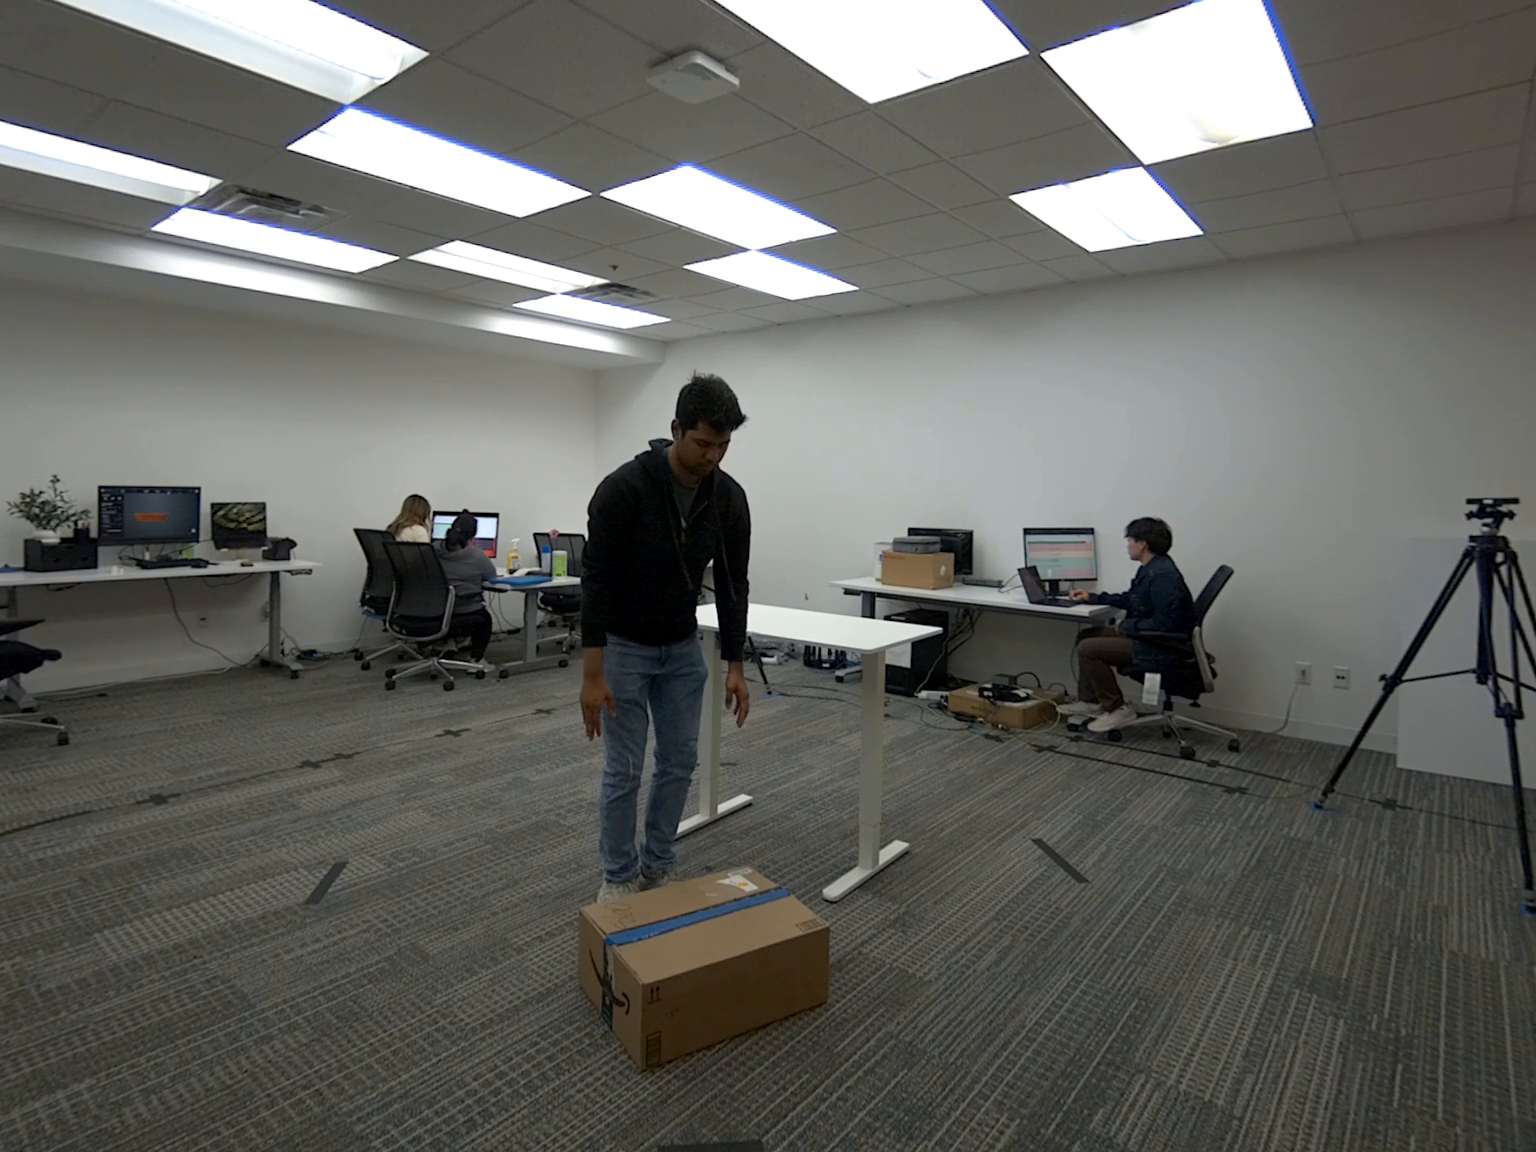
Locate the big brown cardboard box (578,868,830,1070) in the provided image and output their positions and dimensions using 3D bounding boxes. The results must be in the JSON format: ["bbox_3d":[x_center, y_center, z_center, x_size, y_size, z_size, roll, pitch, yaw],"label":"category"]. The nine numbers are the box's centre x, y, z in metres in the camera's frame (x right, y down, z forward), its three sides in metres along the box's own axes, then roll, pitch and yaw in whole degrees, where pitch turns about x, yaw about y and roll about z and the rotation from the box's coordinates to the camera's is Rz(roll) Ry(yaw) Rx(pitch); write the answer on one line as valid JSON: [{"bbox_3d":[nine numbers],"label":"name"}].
[{"bbox_3d":[-0.182,1.036,2.333,0.573,0.232,0.431,-3,7,-33],"label":"big brown cardboard box"}]
